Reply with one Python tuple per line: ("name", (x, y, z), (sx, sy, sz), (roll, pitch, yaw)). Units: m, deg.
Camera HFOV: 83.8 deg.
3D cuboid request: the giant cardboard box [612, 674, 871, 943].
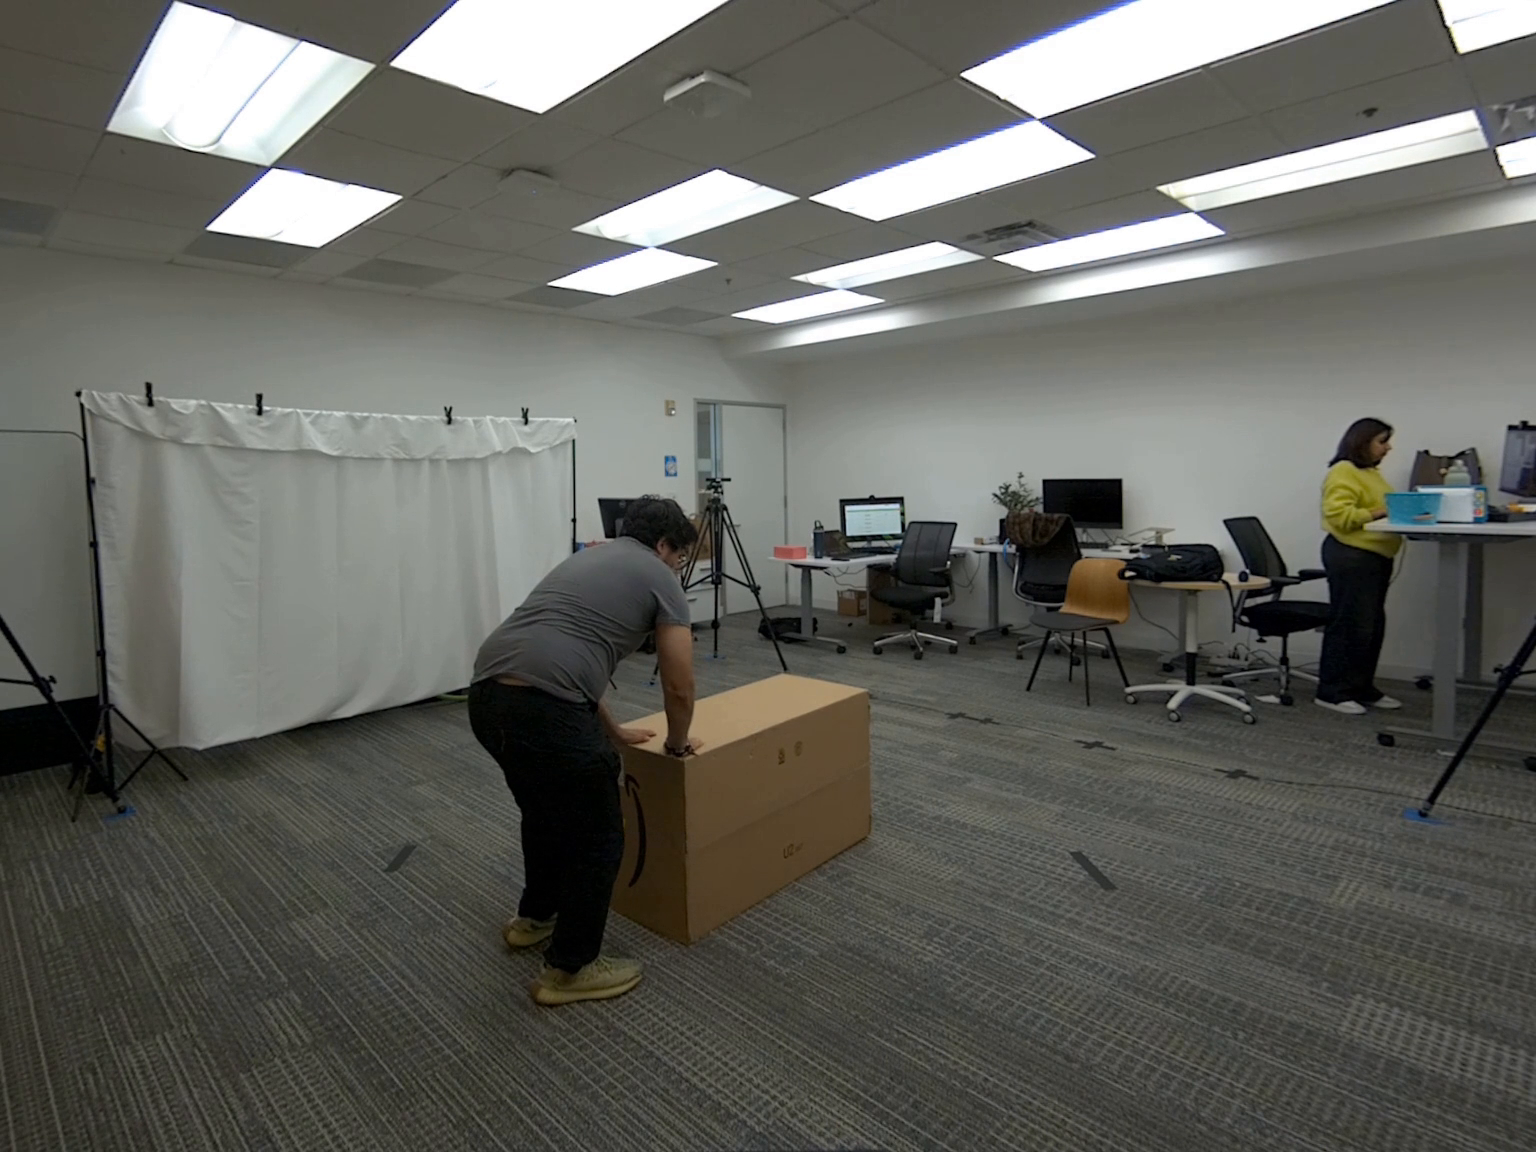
("giant cardboard box", (-0.091, 0.757, 3.062), (0.439, 0.575, 1.000), (3, 7, 40))
